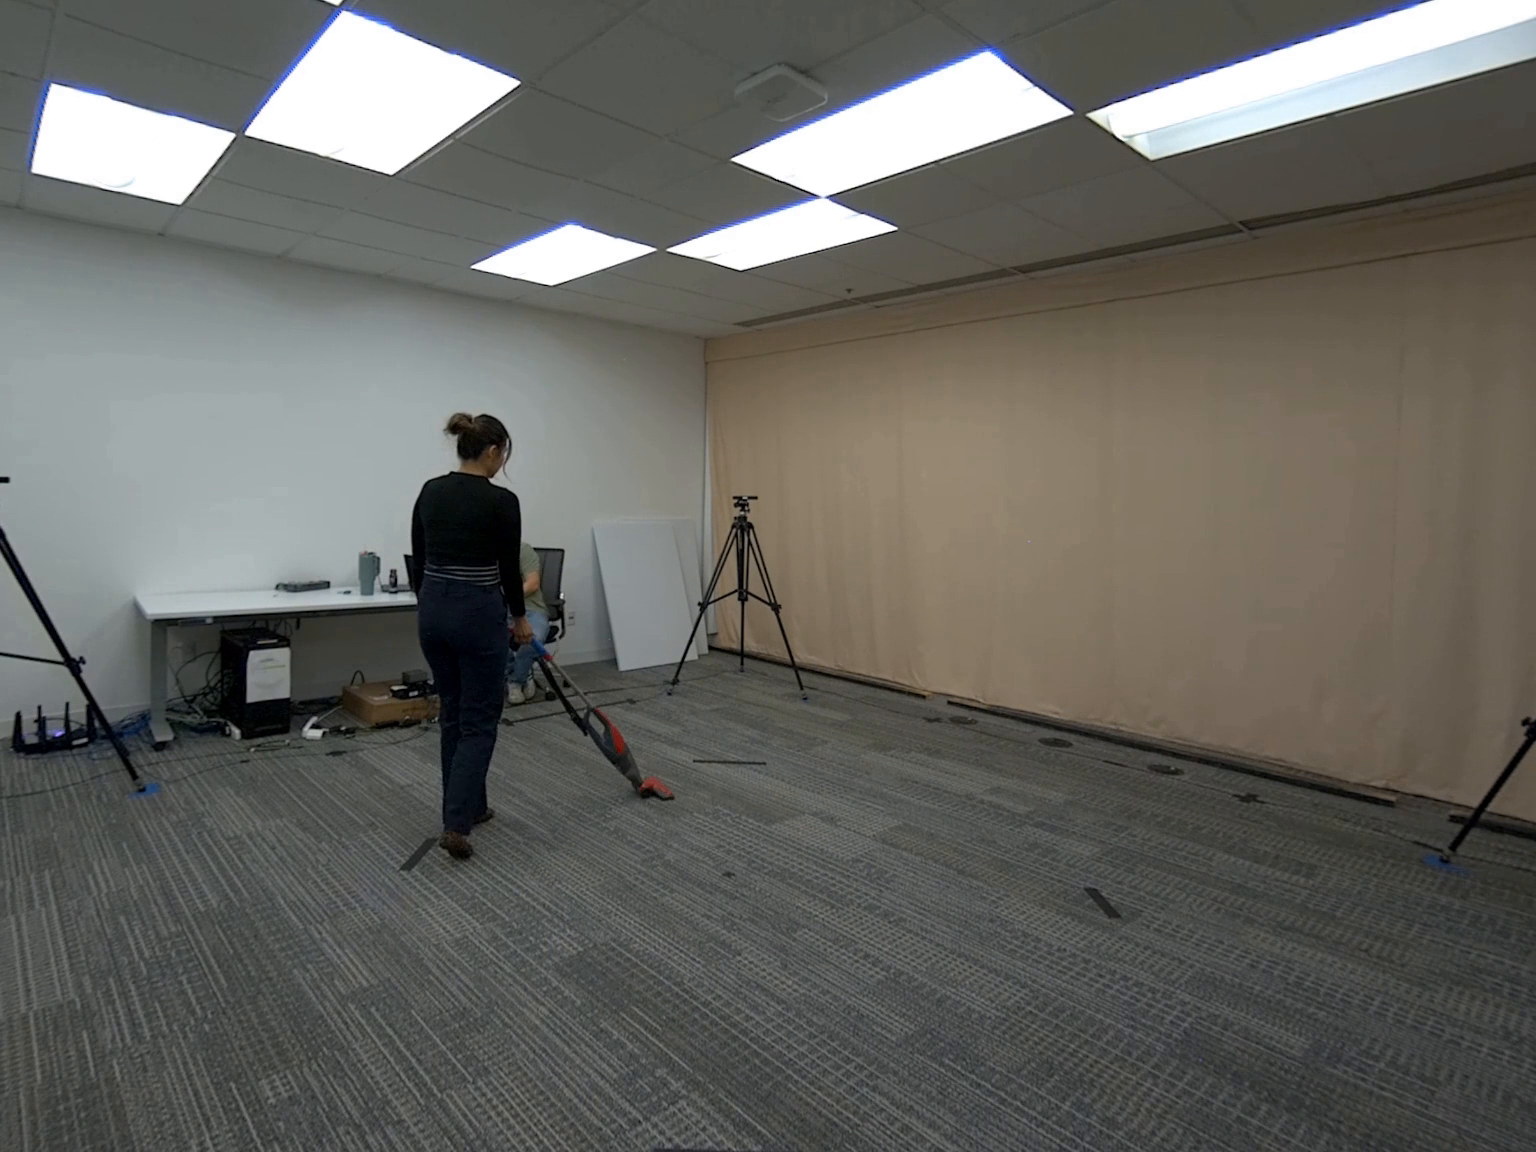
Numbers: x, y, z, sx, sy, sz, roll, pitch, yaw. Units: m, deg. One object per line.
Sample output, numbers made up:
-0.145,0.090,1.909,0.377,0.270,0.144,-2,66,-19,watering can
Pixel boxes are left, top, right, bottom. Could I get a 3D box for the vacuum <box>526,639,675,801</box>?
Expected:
-0.826,0.630,3.766,0.144,1.027,0.258,-47,24,-25,vacuum
